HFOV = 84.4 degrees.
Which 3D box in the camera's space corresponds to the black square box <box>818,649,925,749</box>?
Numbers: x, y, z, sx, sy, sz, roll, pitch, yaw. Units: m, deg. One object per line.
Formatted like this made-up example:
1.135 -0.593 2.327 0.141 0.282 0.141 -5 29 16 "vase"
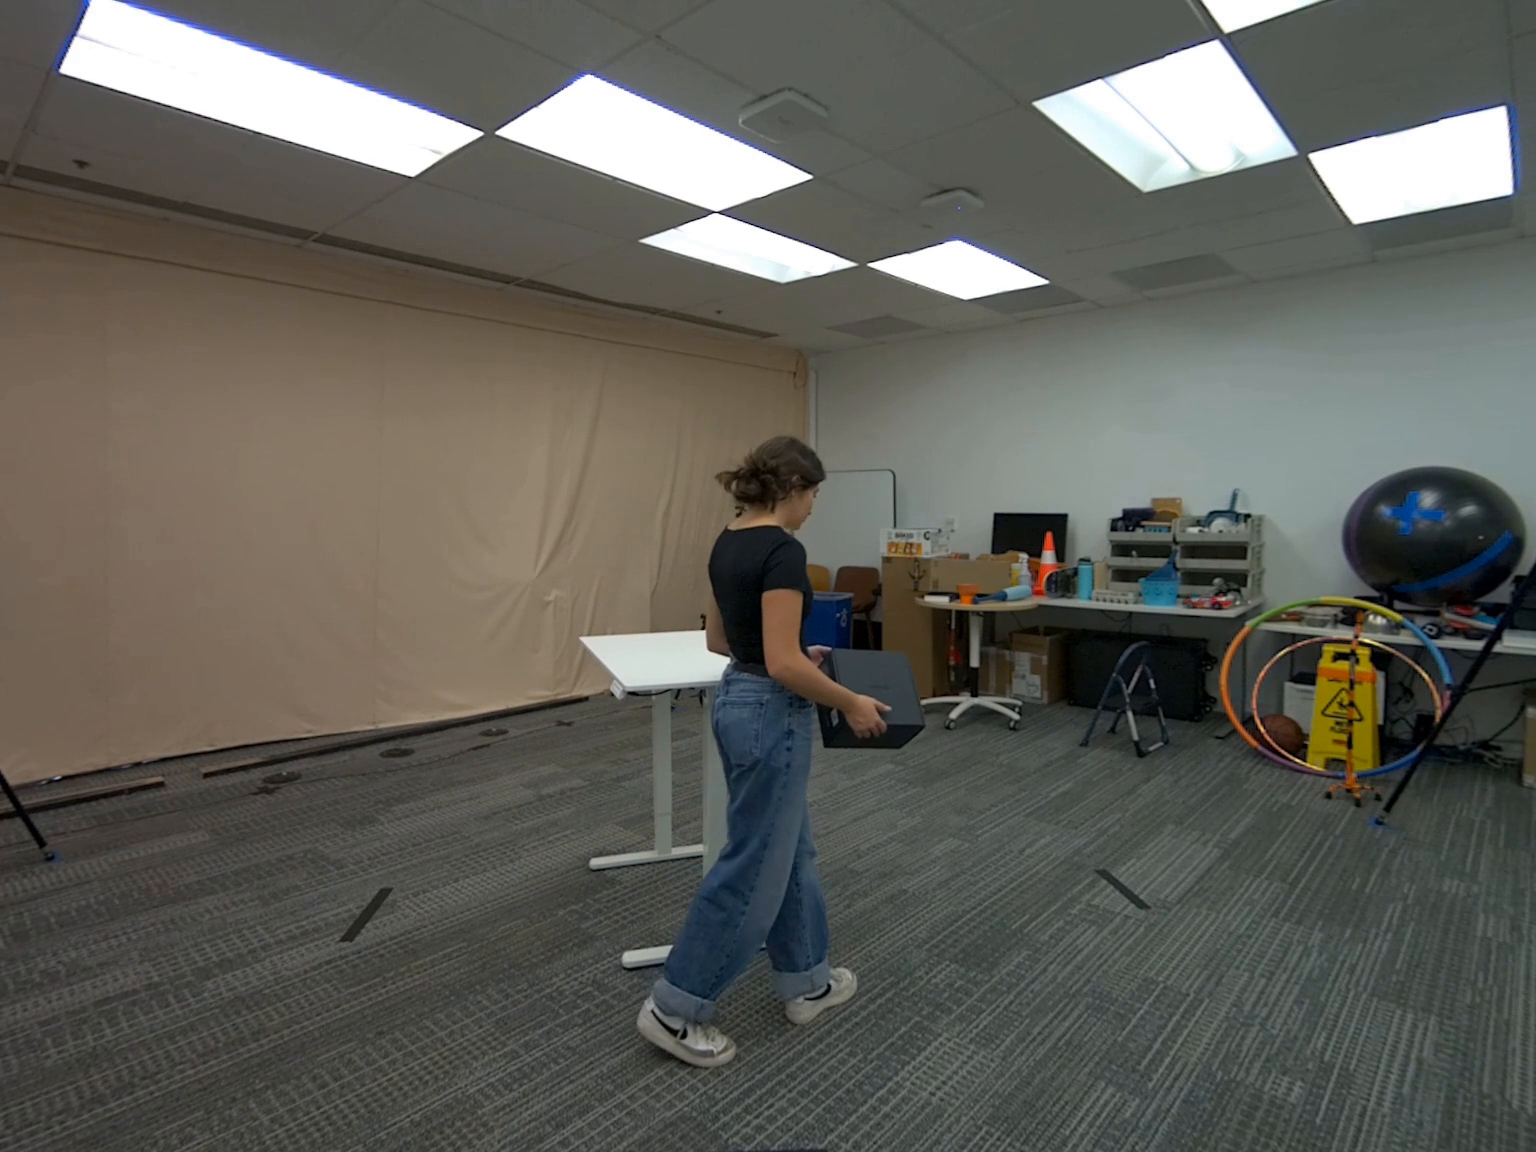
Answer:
0.266 0.330 2.234 0.224 0.221 0.155 3 -35 -17 "black square box"
